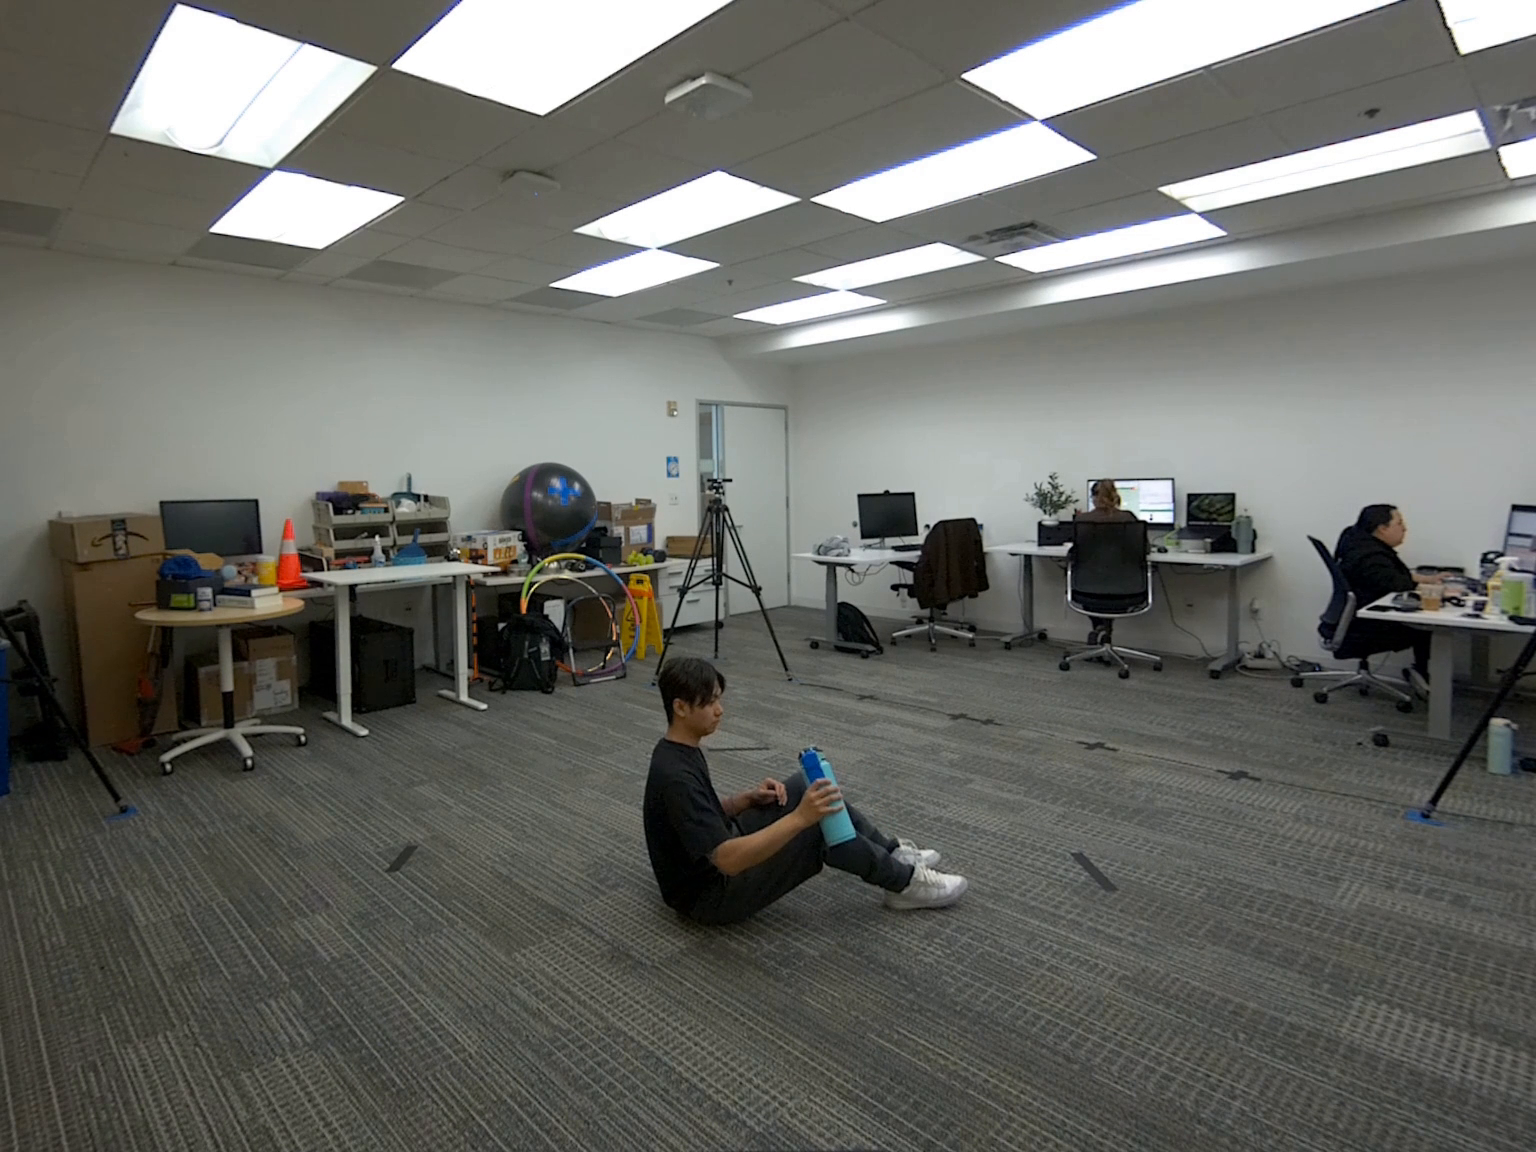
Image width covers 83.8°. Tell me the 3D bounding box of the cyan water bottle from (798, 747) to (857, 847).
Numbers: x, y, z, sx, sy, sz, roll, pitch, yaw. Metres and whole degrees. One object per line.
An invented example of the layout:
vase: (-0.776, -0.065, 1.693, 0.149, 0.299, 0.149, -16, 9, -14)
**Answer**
cyan water bottle: (0.174, 0.640, 2.507, 0.092, 0.289, 0.091, -17, -18, -7)
